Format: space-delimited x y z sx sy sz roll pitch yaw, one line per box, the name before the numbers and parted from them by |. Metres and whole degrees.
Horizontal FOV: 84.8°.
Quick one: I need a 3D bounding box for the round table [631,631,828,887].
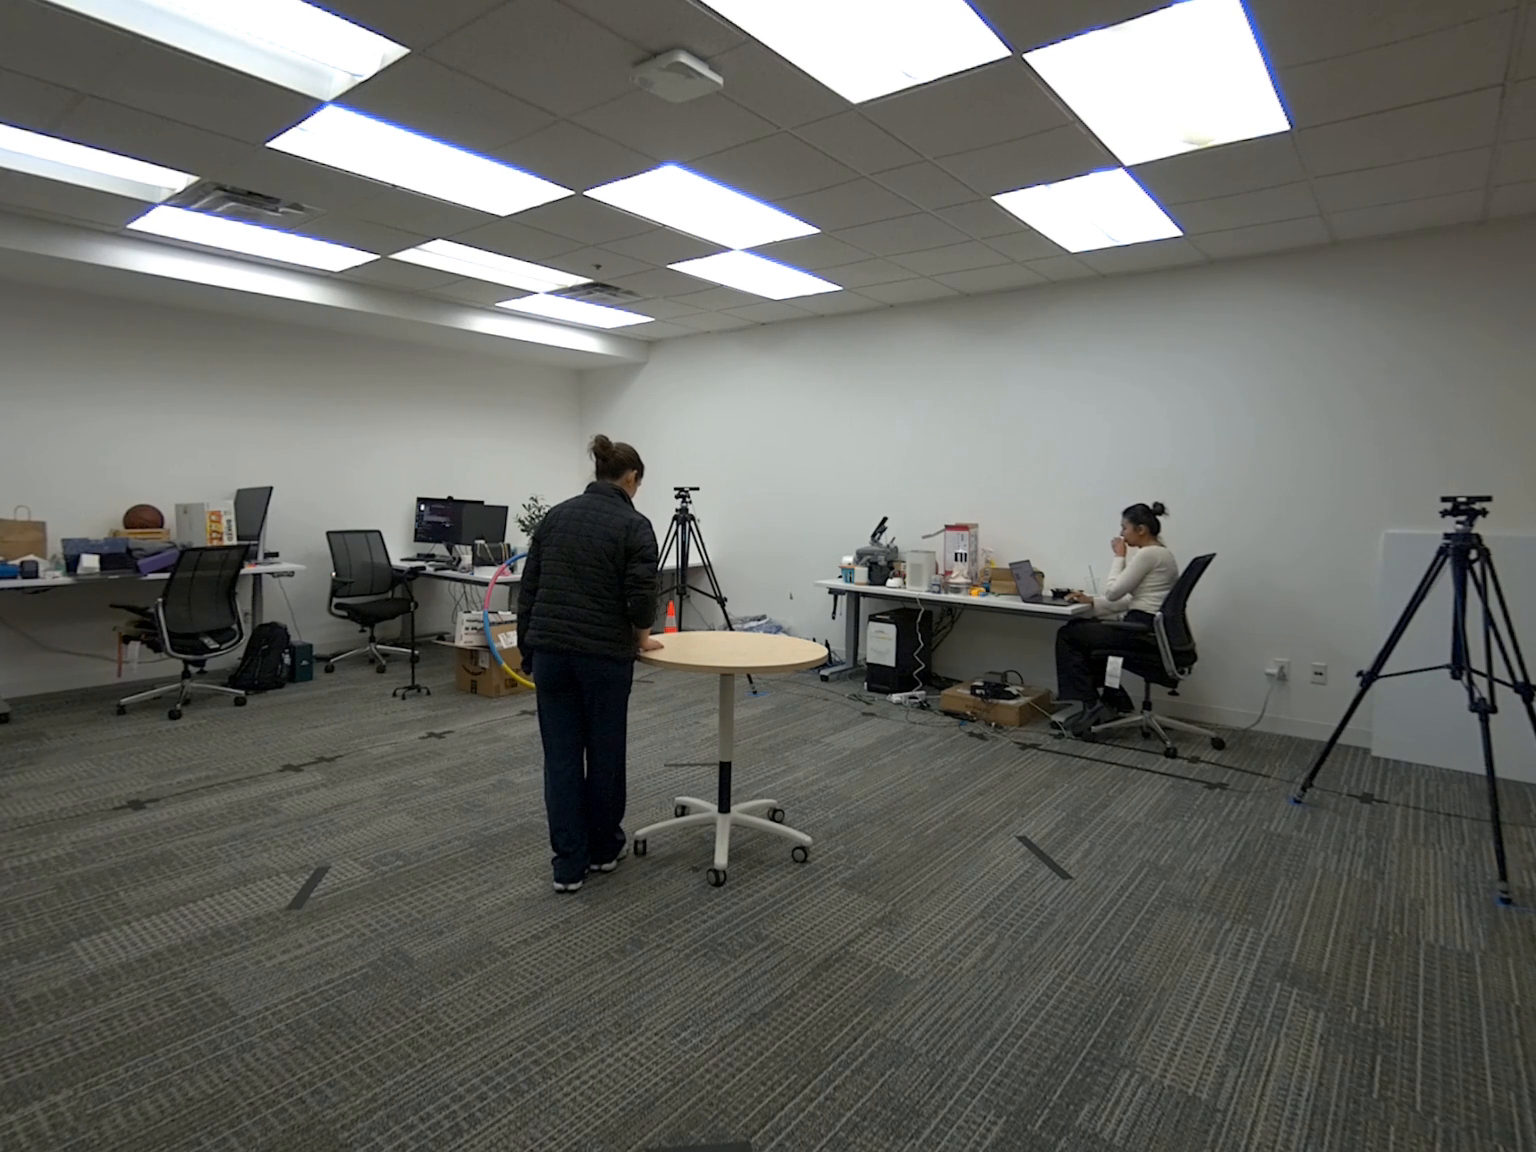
round table | -0.136 0.658 3.286 0.784 0.784 0.789 1 4 -2
